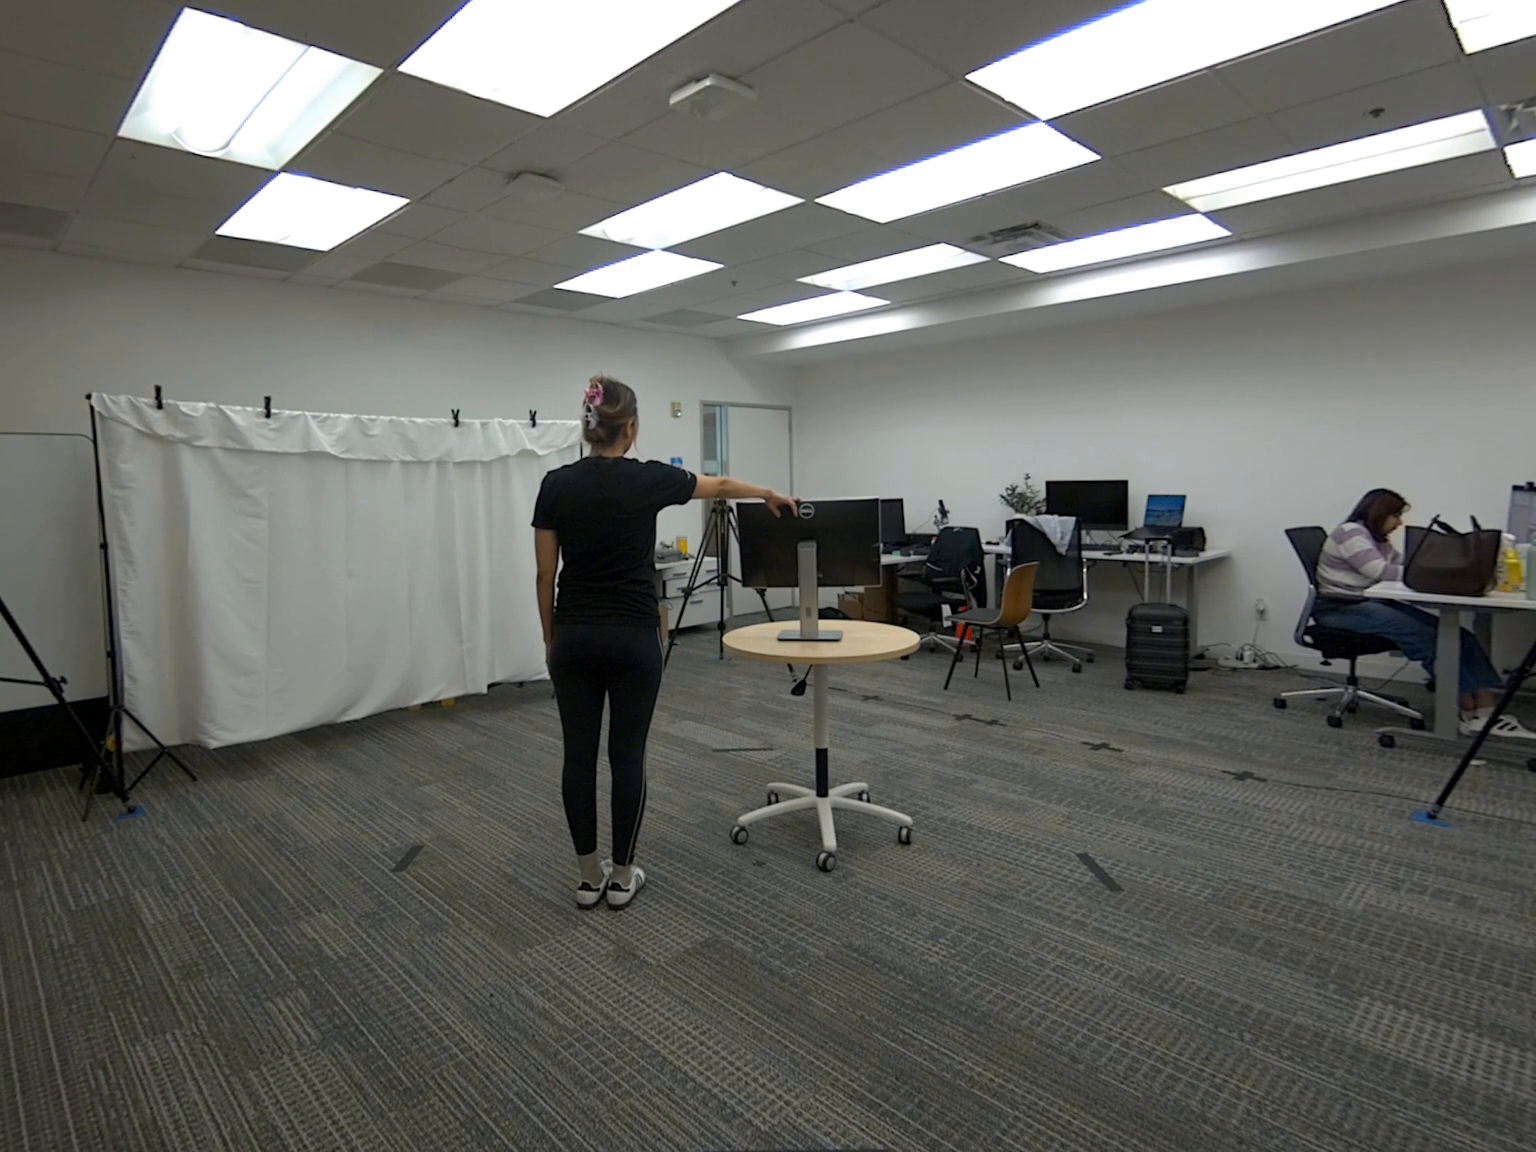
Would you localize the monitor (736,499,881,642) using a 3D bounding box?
[{"bbox_3d":[0.155,-0.023,3.329,0.544,0.521,0.186,-1,4,9],"label":"monitor"}]
